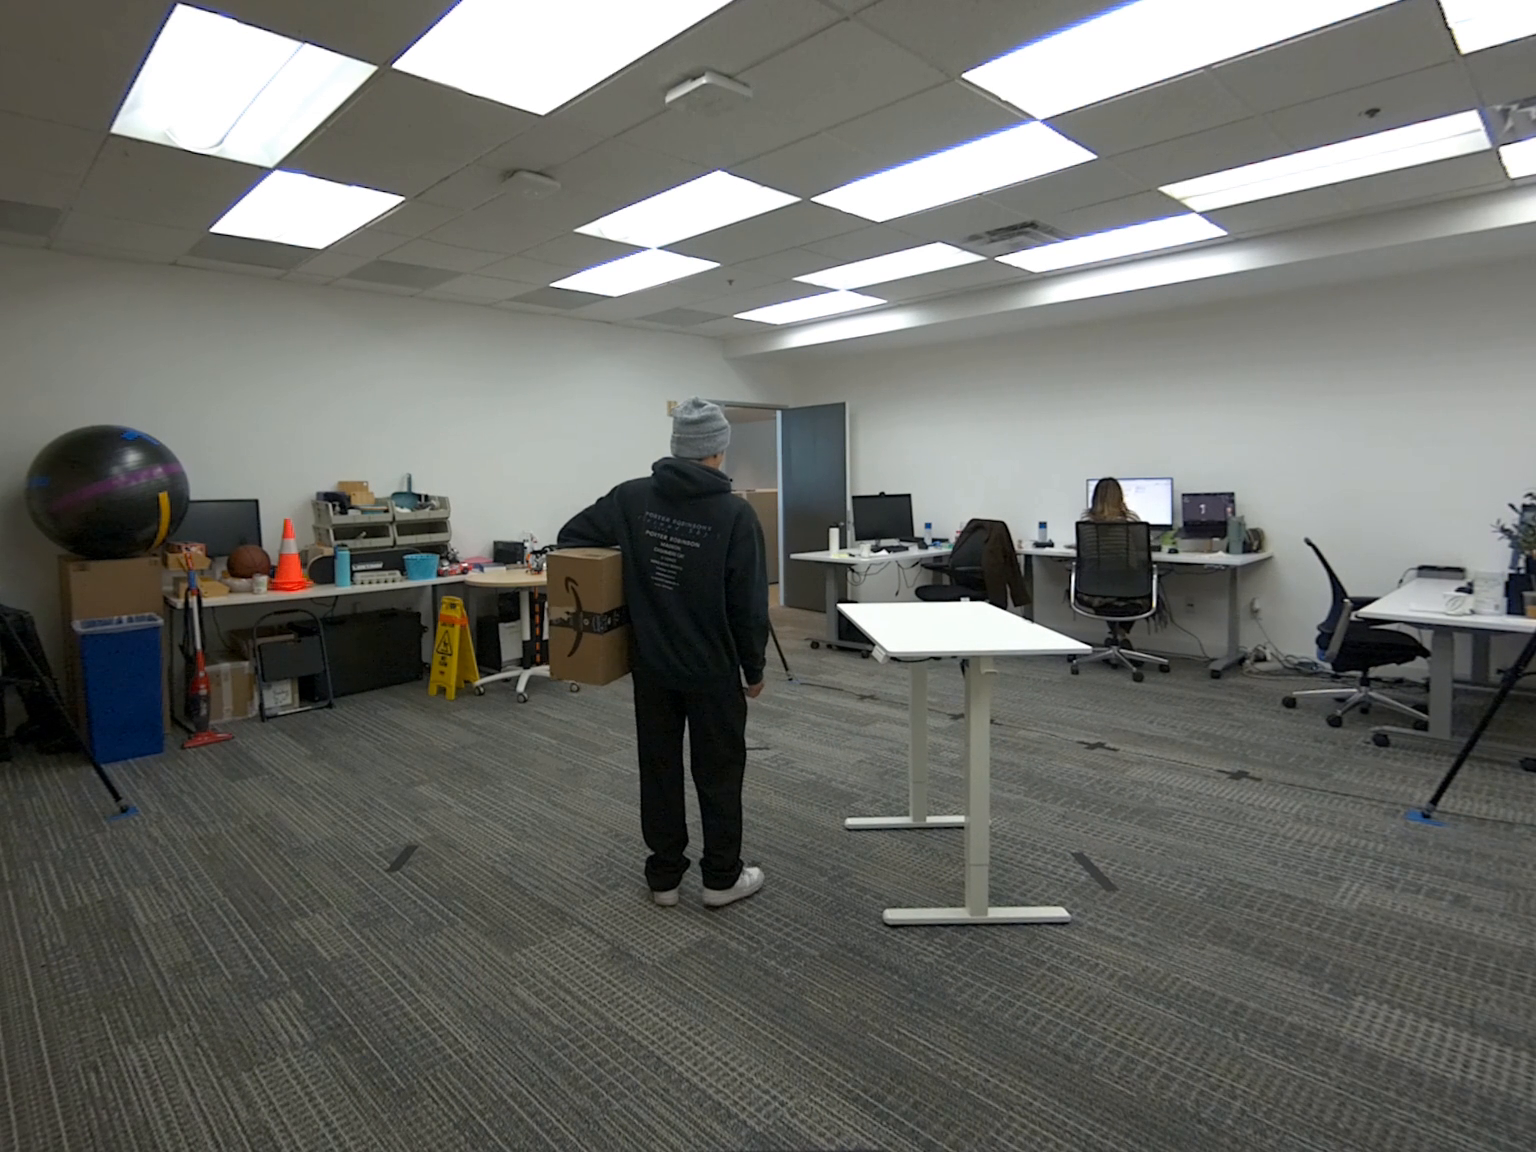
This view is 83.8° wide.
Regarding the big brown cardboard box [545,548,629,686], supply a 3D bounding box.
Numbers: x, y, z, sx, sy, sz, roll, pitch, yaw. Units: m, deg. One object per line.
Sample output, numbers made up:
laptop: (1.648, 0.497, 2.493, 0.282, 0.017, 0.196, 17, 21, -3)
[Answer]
big brown cardboard box: (-0.500, 0.093, 2.975, 0.238, 0.414, 0.580, 4, 9, 22)
